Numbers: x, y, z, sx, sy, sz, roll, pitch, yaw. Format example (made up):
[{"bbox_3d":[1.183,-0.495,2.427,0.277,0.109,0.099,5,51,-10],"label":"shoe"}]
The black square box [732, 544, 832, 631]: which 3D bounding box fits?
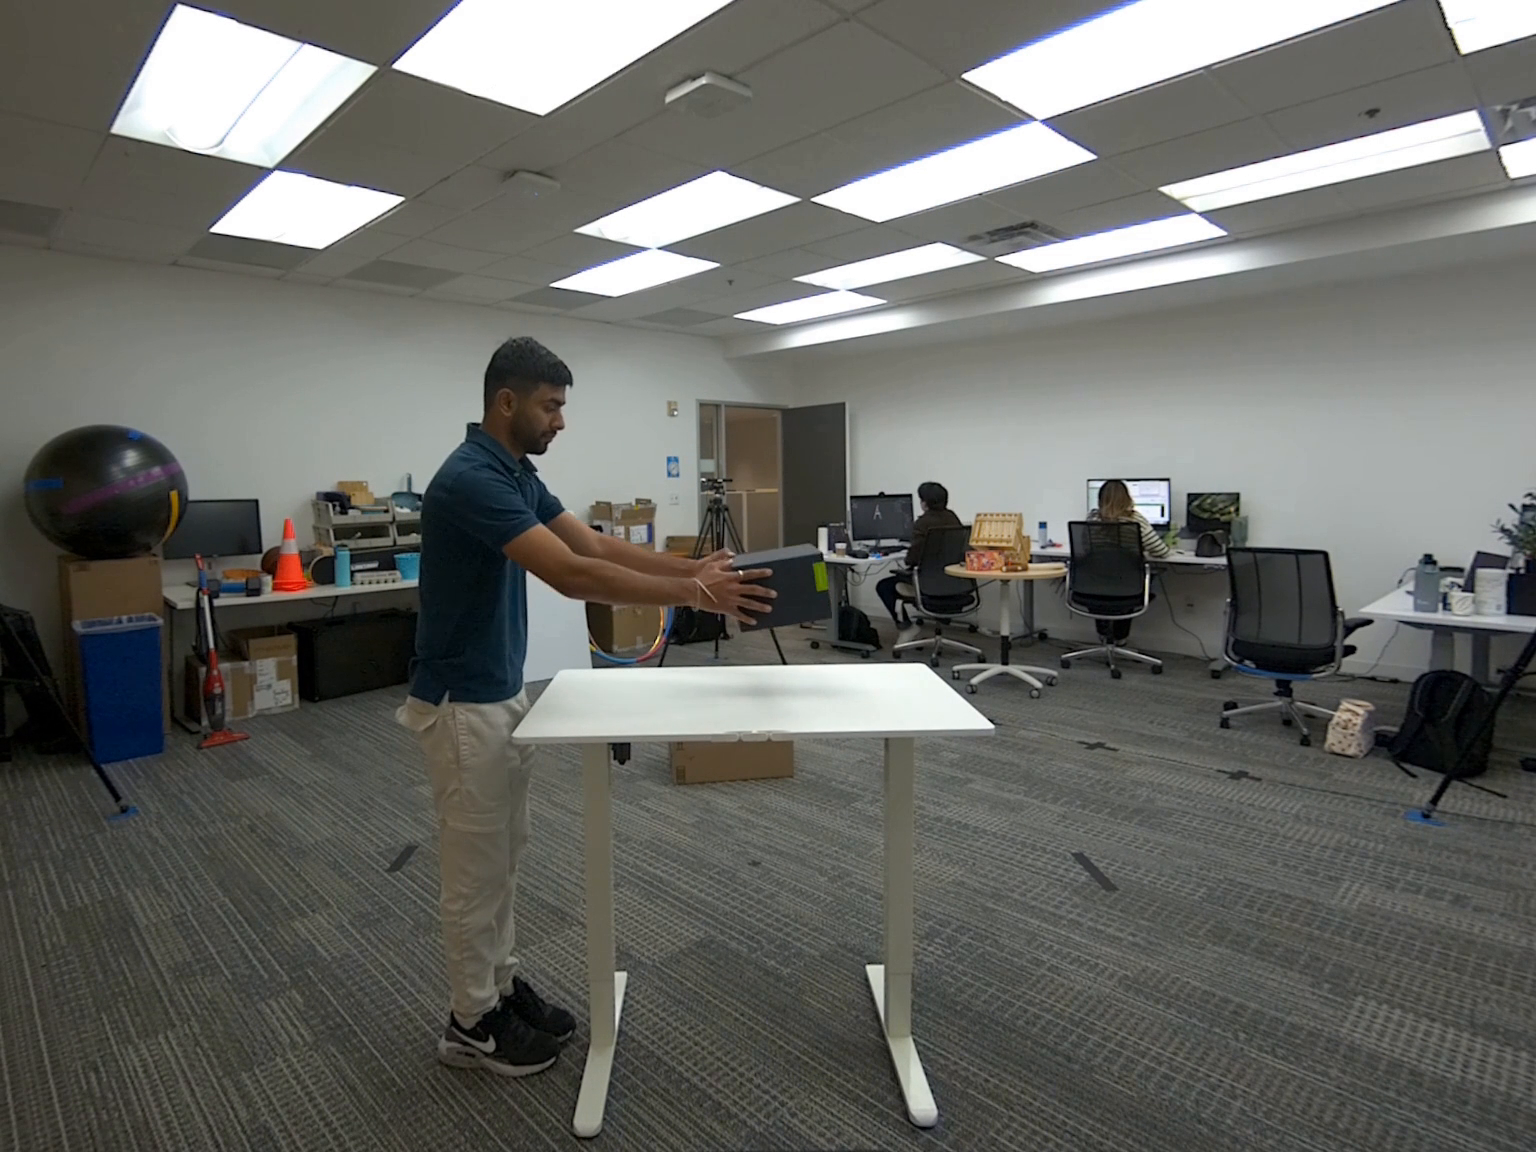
[{"bbox_3d":[0.018,0.030,2.054,0.217,0.155,0.229,-9,6,-1],"label":"black square box"}]
